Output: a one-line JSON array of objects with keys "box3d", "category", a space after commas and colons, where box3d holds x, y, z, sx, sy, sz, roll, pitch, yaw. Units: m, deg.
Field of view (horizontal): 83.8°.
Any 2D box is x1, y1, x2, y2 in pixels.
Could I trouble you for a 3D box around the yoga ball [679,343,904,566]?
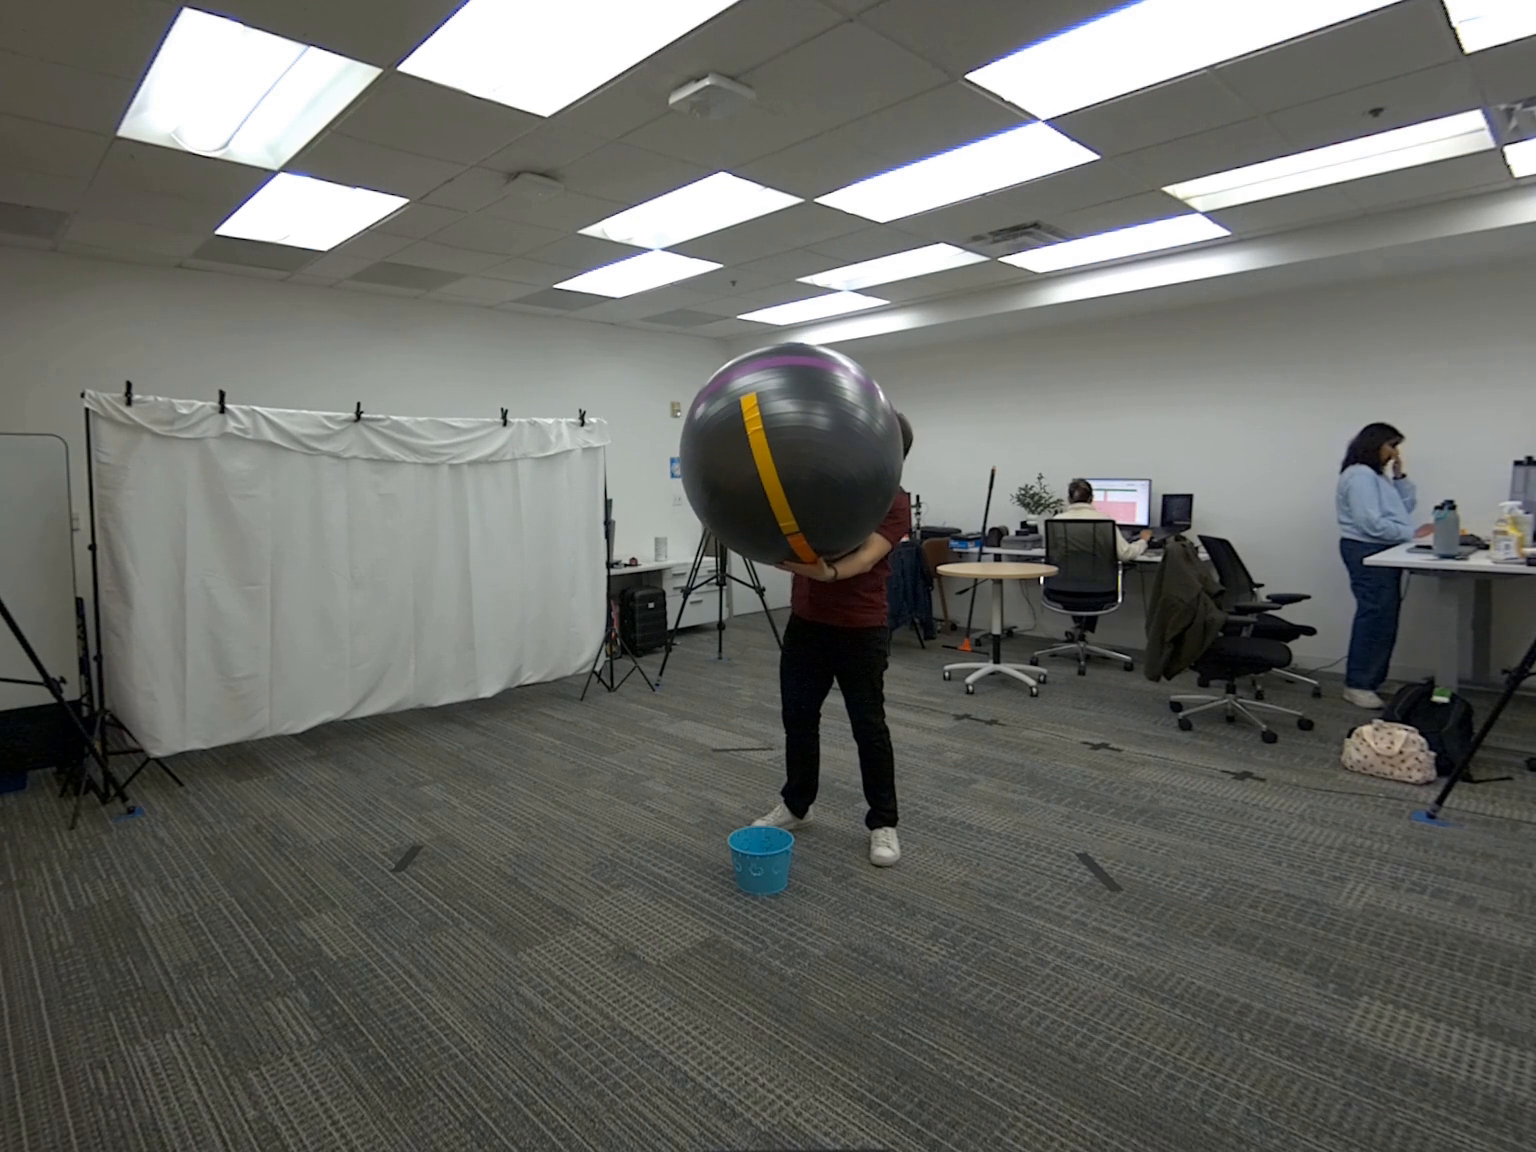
[{"box3d": [0.069, -0.399, 2.915, 0.757, 0.755, 0.762, -1, 5, -2], "category": "yoga ball"}]
